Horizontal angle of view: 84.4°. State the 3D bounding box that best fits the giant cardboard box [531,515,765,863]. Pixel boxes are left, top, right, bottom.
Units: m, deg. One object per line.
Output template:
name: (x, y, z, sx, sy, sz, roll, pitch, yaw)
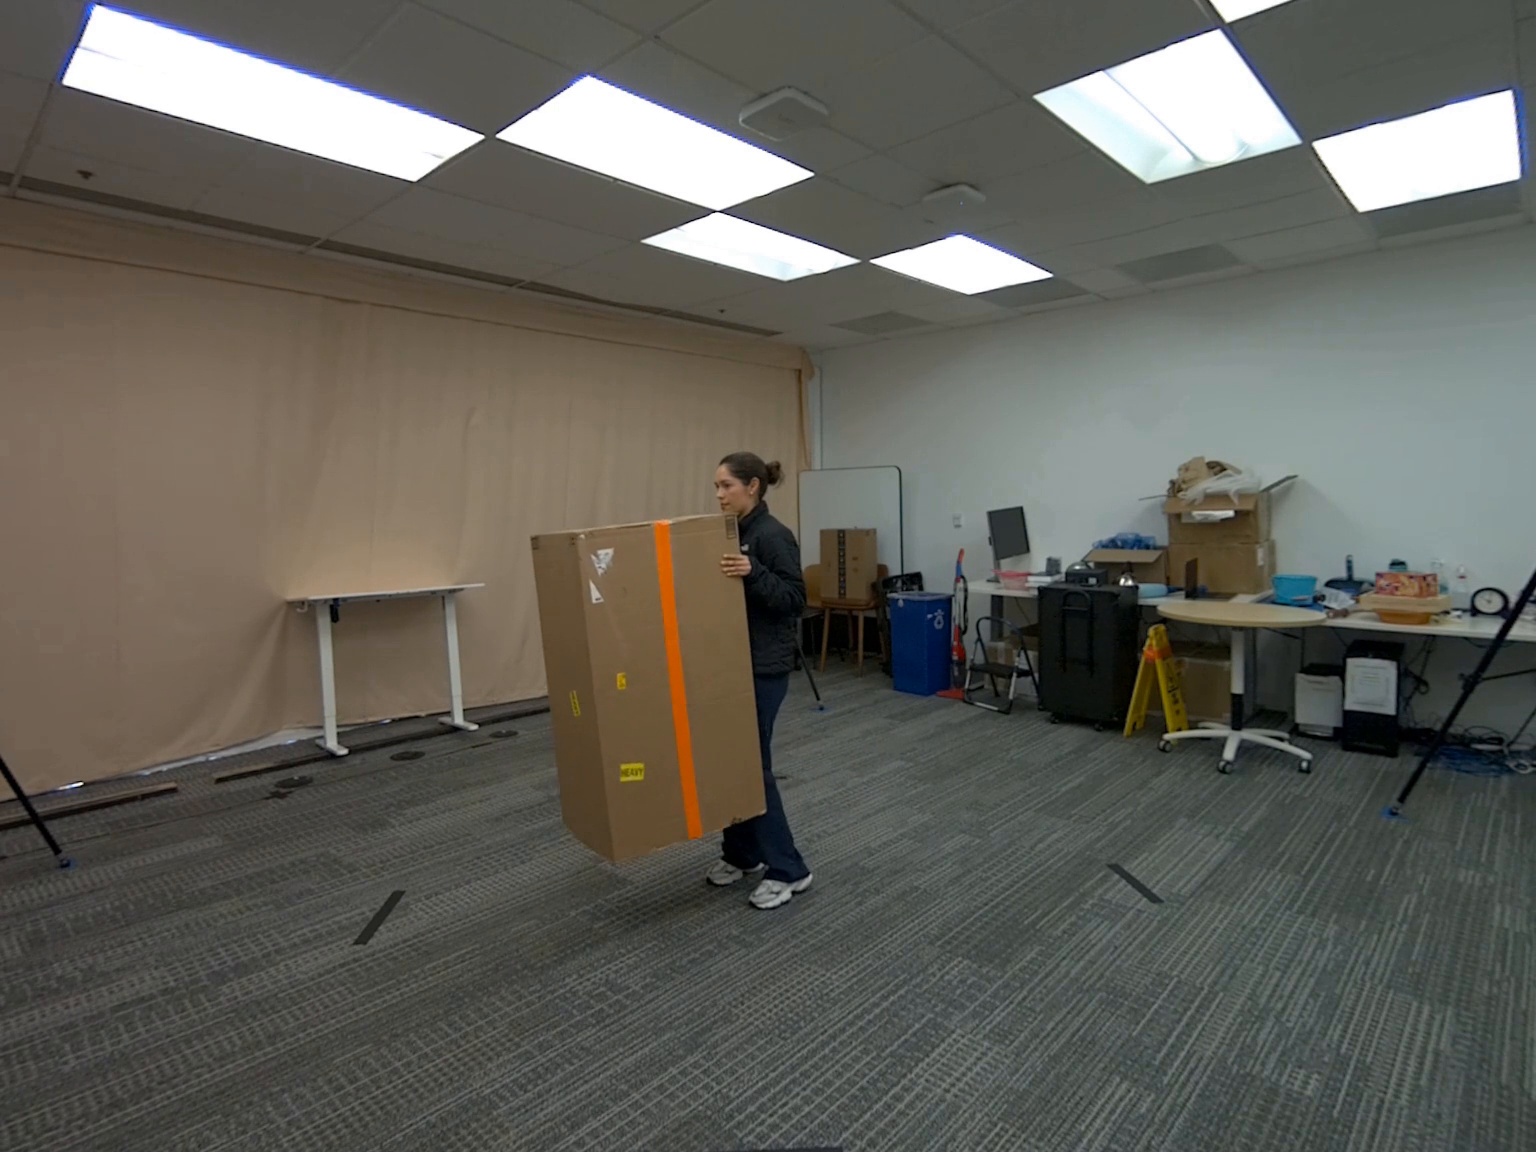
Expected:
giant cardboard box: (-0.392, 0.340, 2.849, 0.562, 1.023, 0.438, -8, 4, -32)
